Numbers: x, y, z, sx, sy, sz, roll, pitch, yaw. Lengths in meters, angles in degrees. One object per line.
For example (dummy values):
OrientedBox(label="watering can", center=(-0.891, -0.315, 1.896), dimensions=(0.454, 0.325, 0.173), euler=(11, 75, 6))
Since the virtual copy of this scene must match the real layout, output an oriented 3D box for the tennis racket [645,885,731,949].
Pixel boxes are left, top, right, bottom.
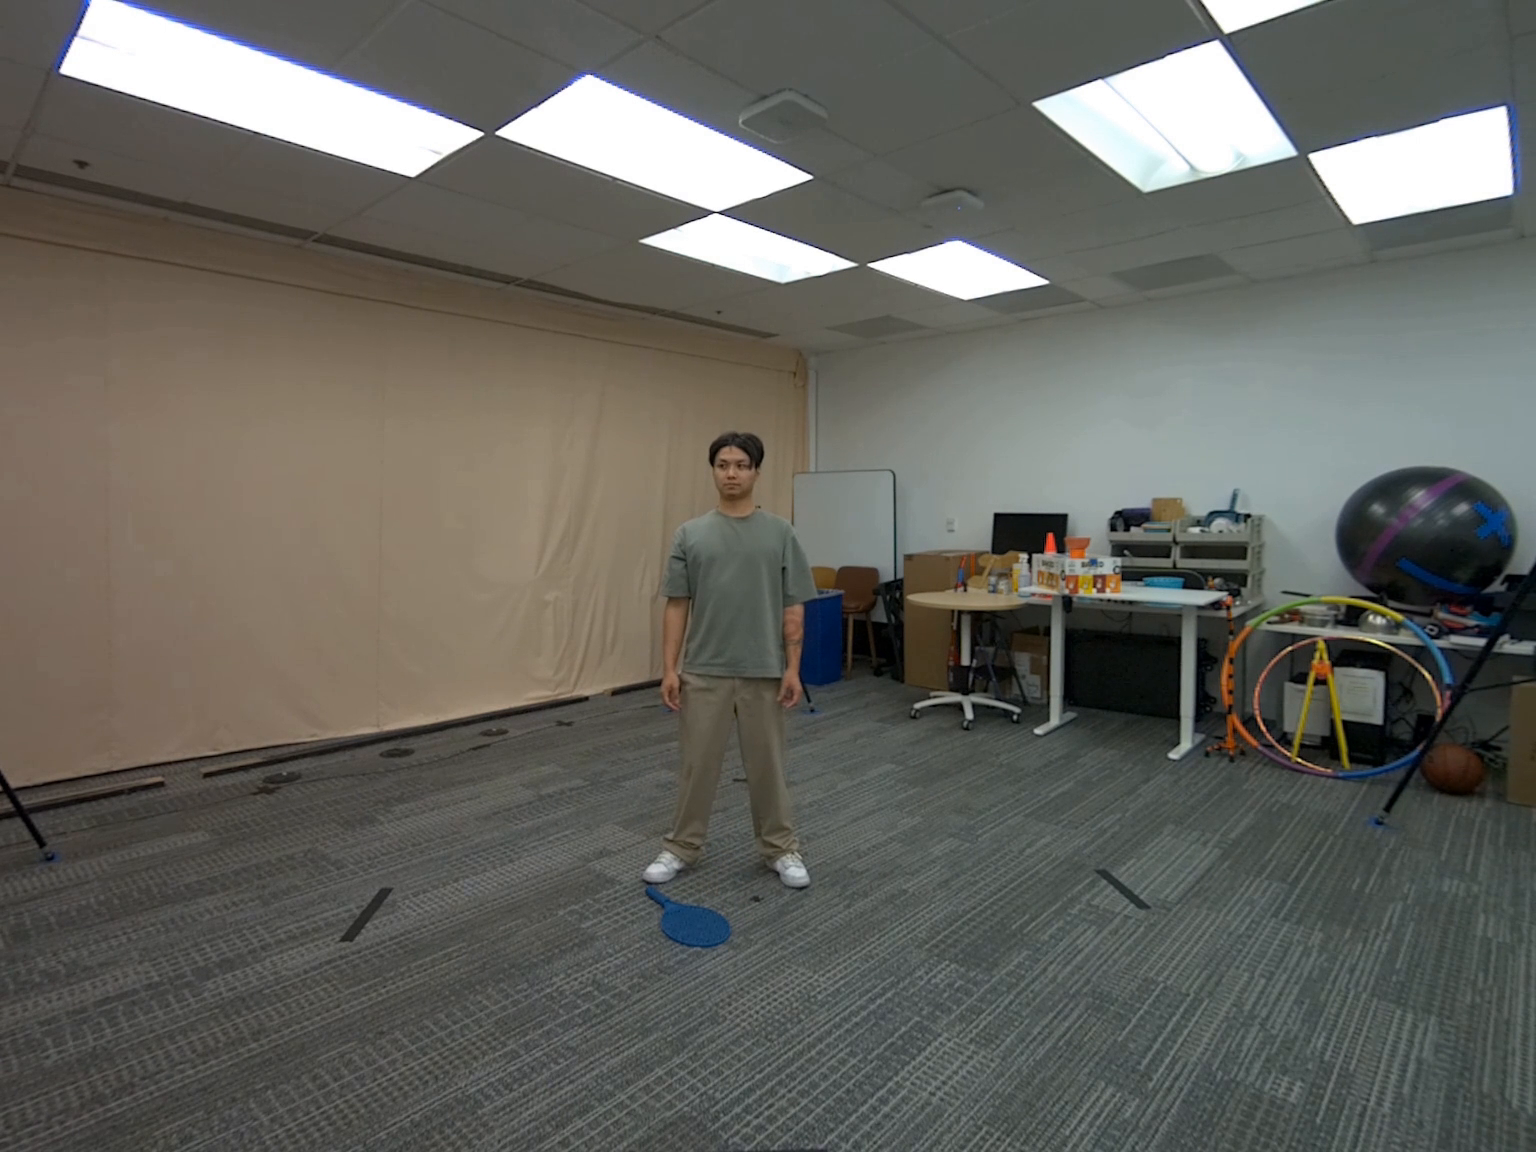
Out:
OrientedBox(label="tennis racket", center=(-0.280, 1.143, 2.850), dimensions=(0.207, 0.031, 0.447), euler=(-3, 7, -35))
